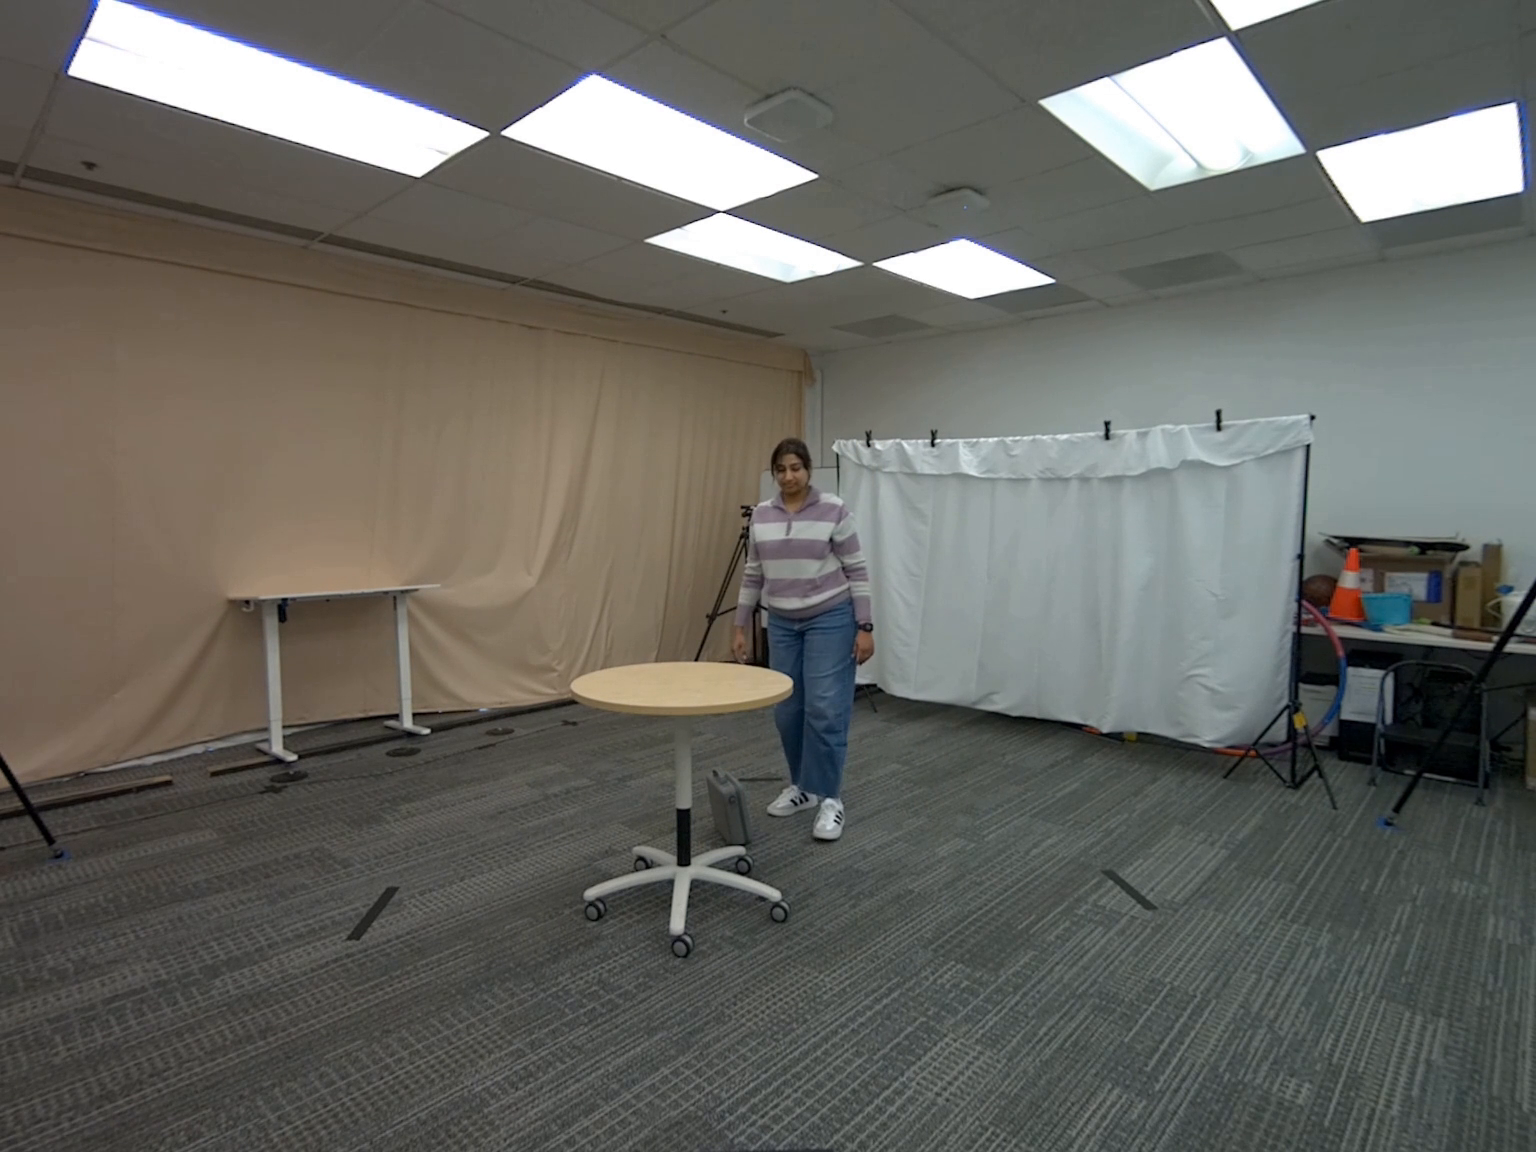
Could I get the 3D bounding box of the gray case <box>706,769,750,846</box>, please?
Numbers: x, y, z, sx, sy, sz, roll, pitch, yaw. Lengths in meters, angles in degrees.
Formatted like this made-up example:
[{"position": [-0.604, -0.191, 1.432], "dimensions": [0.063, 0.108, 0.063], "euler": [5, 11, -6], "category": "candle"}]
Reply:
[{"position": [-0.162, 0.961, 3.533], "dimensions": [0.102, 0.259, 0.262], "euler": [-10, 7, -19], "category": "gray case"}]
